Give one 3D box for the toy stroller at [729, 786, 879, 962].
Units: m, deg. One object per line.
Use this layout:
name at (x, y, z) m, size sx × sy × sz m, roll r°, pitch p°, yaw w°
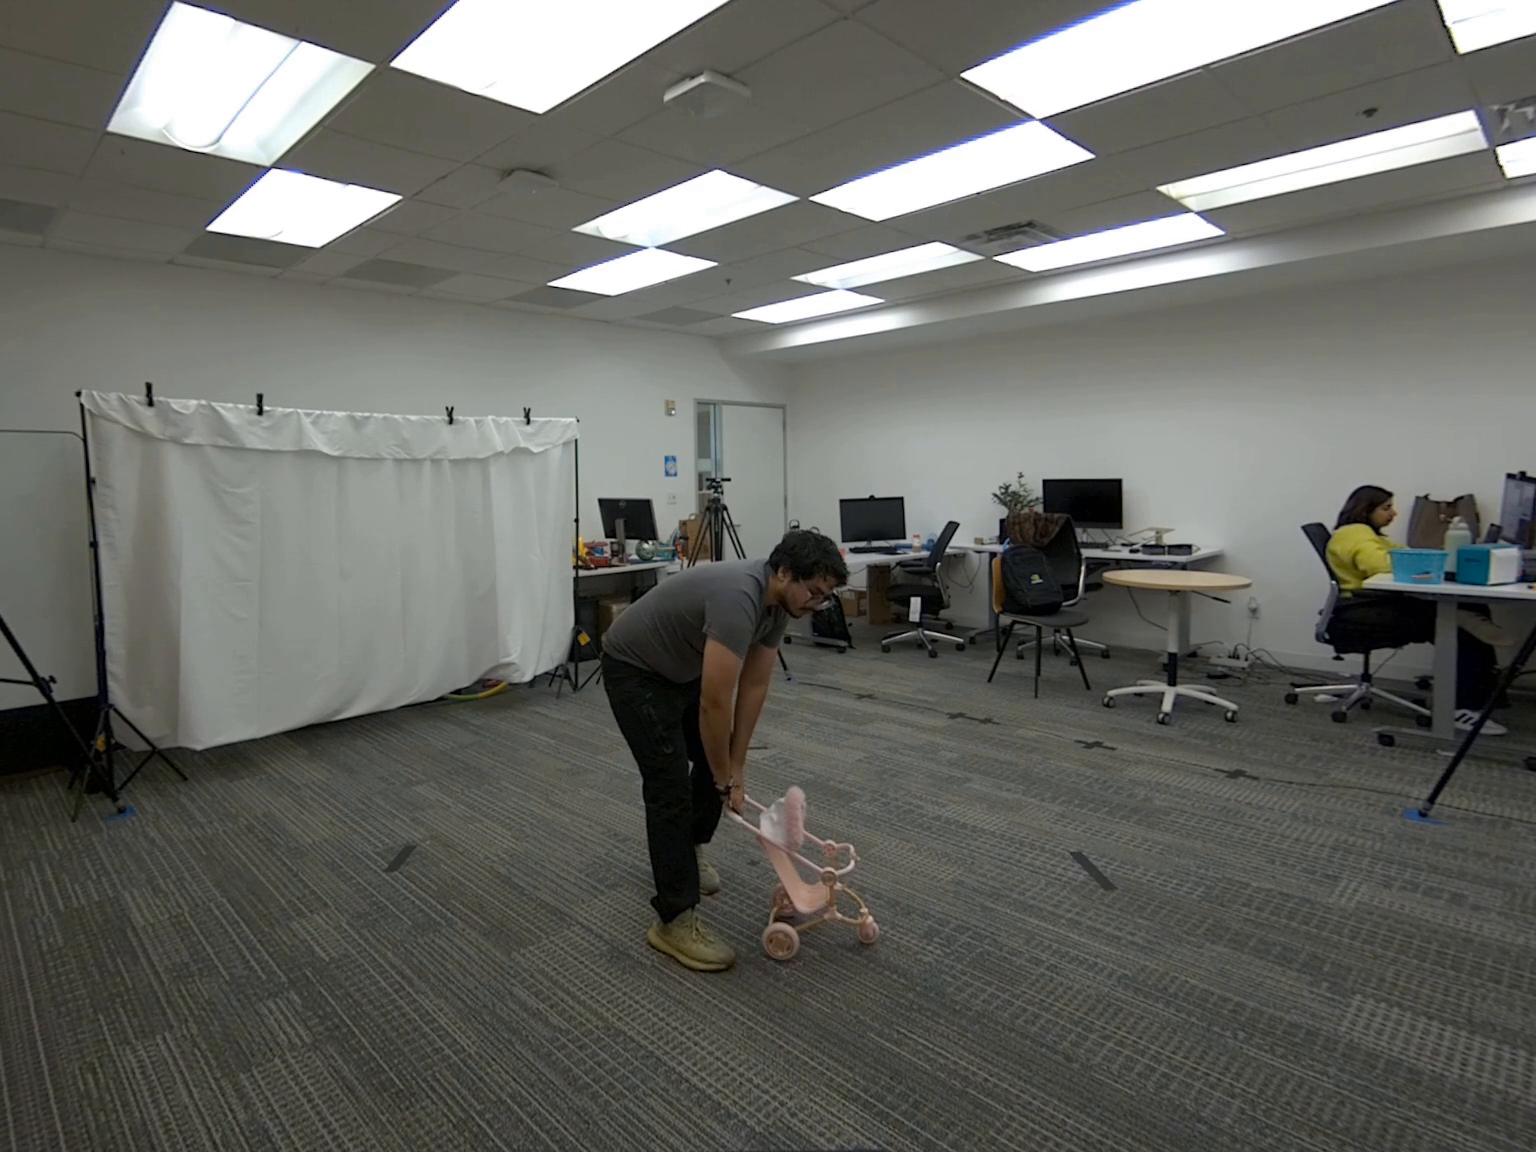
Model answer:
toy stroller at (0.115, 0.879, 2.572) m, size 0.344 × 0.535 × 0.279 m, roll -17°, pitch 1°, yaw 13°
